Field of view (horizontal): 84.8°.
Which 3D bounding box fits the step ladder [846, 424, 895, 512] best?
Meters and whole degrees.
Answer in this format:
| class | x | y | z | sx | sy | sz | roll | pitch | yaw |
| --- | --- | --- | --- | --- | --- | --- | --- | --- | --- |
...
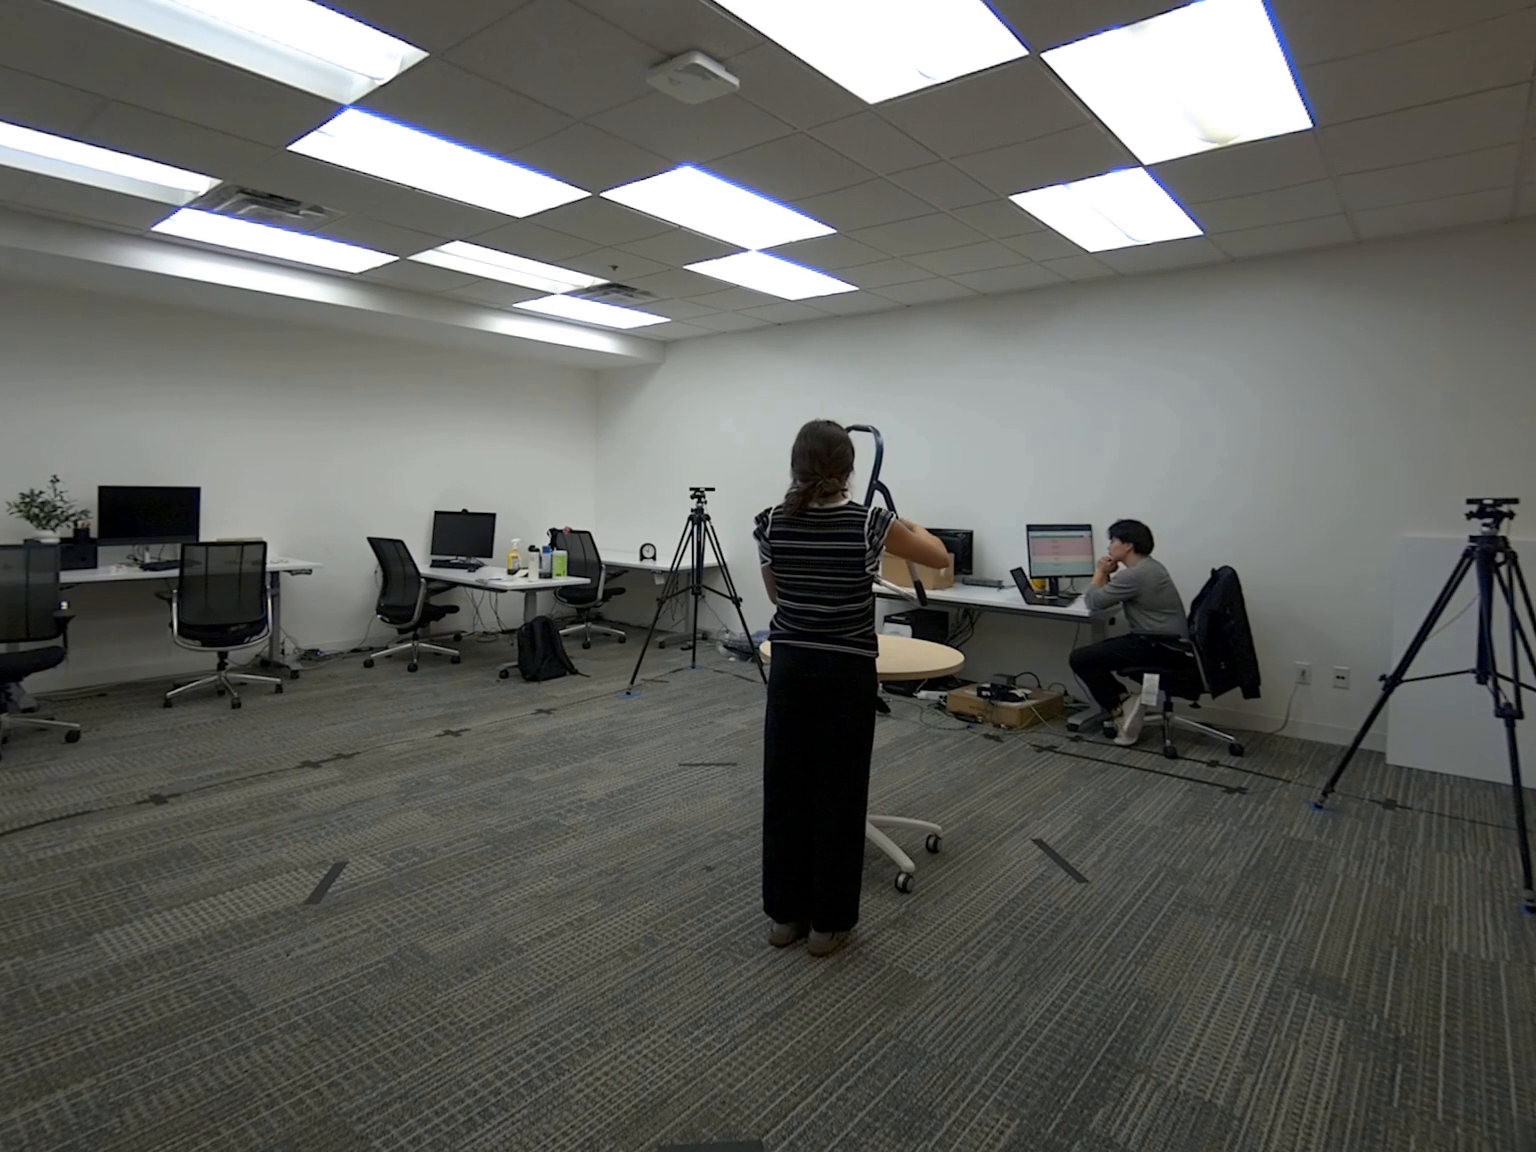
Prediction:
| class | x | y | z | sx | sy | sz | roll | pitch | yaw |
| --- | --- | --- | --- | --- | --- | --- | --- | --- | --- |
| step ladder | 0.291 | -0.218 | 2.921 | 0.344 | 0.599 | 0.443 | -8 | 12 | -19 |
